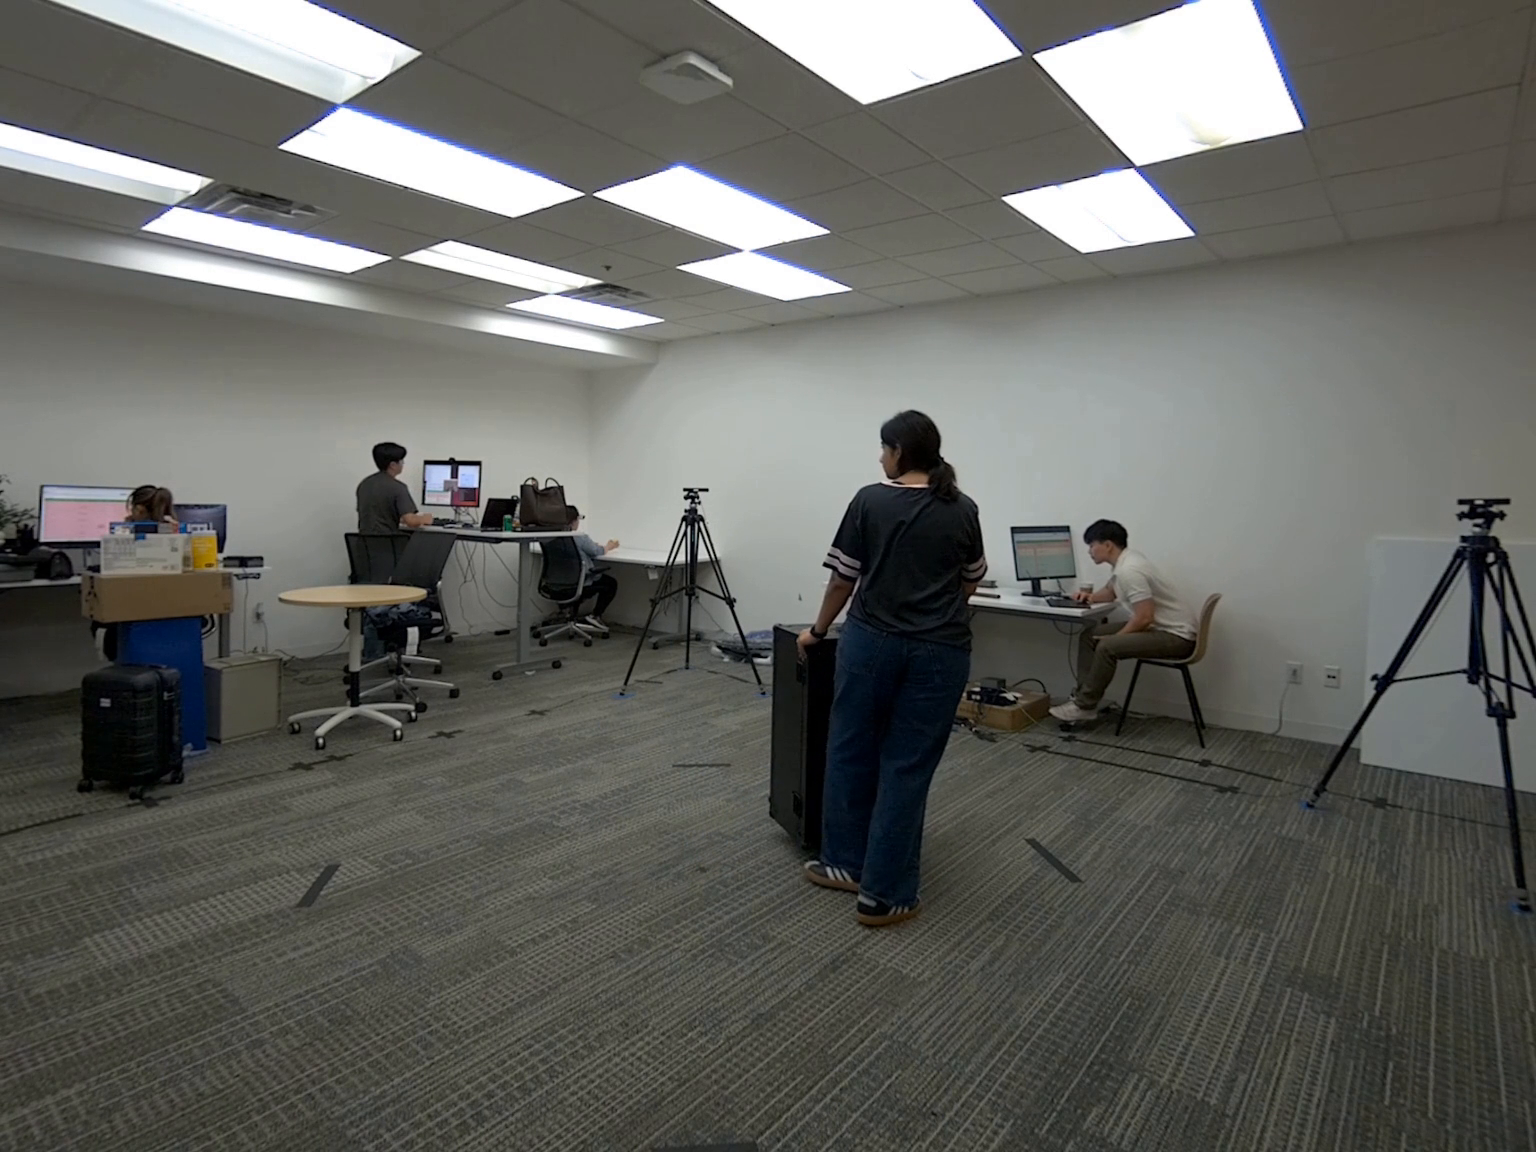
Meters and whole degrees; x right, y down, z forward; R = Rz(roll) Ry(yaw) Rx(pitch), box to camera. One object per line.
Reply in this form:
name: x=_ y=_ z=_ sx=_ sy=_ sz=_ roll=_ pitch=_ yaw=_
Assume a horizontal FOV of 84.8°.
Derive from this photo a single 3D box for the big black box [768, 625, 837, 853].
big black box: x=0.285 y=0.630 z=3.351 sx=0.513 sy=0.866 sz=0.394 roll=0 pitch=3 yaw=-20
